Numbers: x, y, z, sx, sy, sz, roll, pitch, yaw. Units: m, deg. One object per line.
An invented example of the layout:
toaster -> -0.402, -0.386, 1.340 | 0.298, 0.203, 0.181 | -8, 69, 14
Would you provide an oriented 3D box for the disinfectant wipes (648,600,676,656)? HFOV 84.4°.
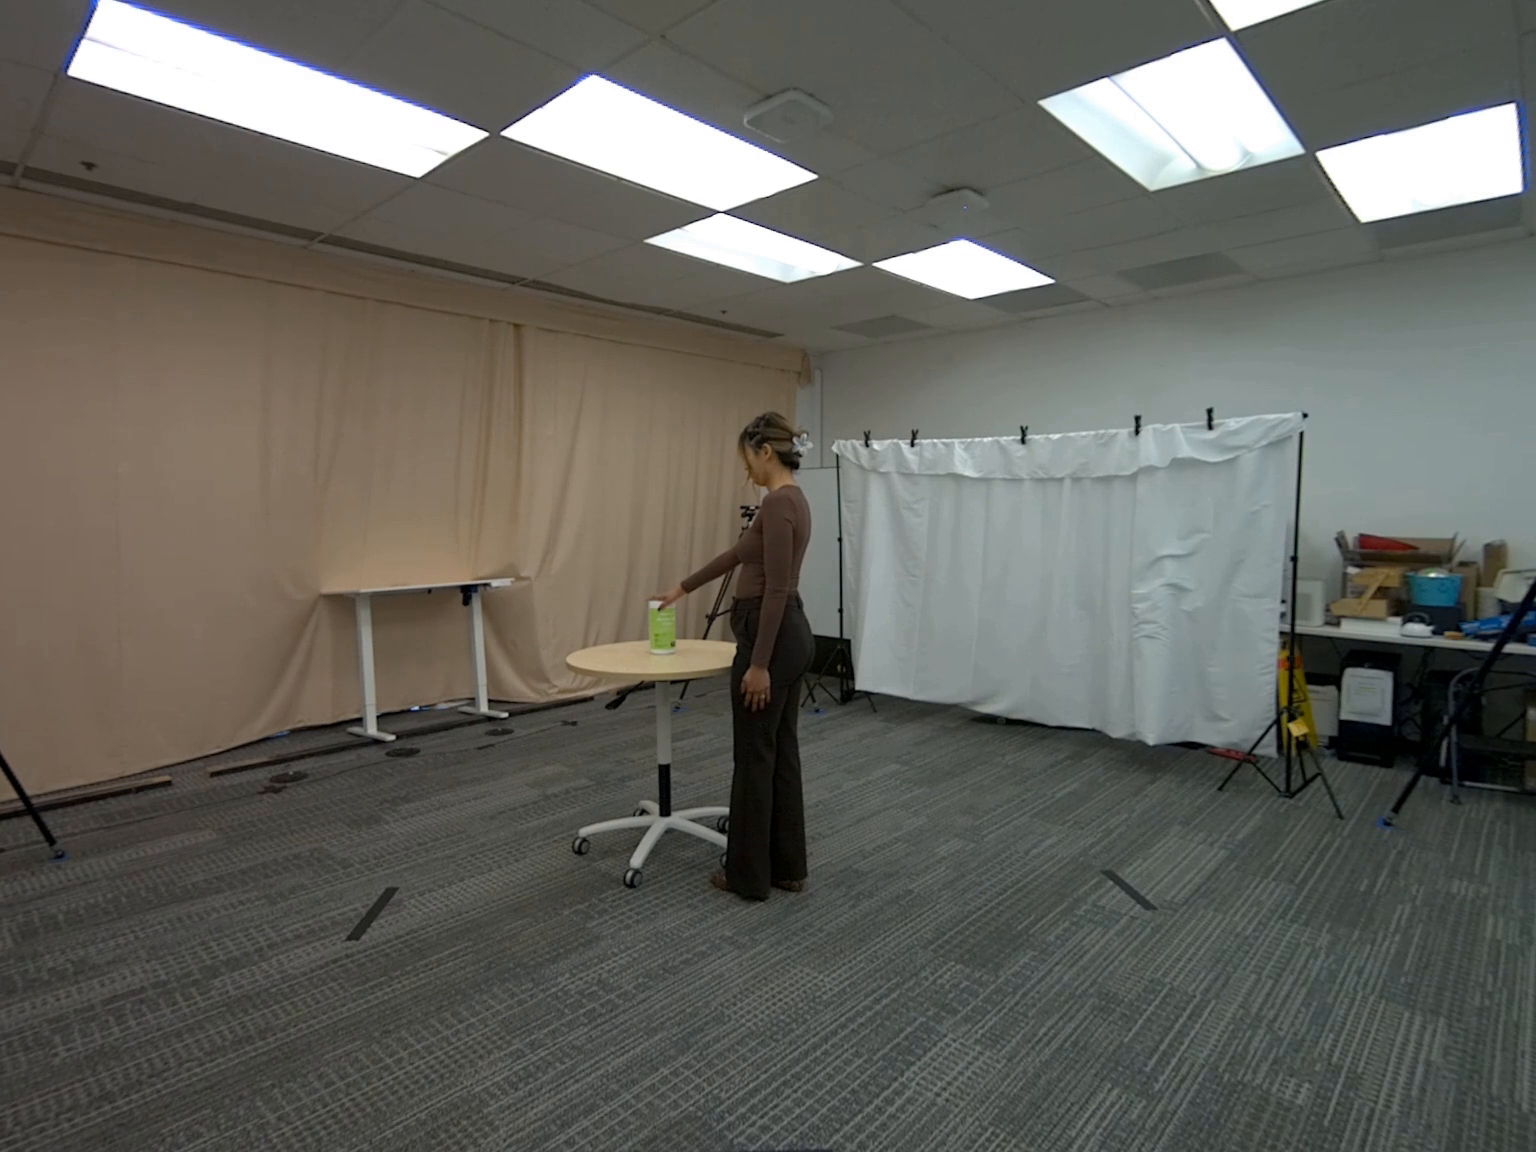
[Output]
disinfectant wipes -> -0.432, 0.207, 3.431 | 0.118, 0.217, 0.118 | 1, 5, -2
